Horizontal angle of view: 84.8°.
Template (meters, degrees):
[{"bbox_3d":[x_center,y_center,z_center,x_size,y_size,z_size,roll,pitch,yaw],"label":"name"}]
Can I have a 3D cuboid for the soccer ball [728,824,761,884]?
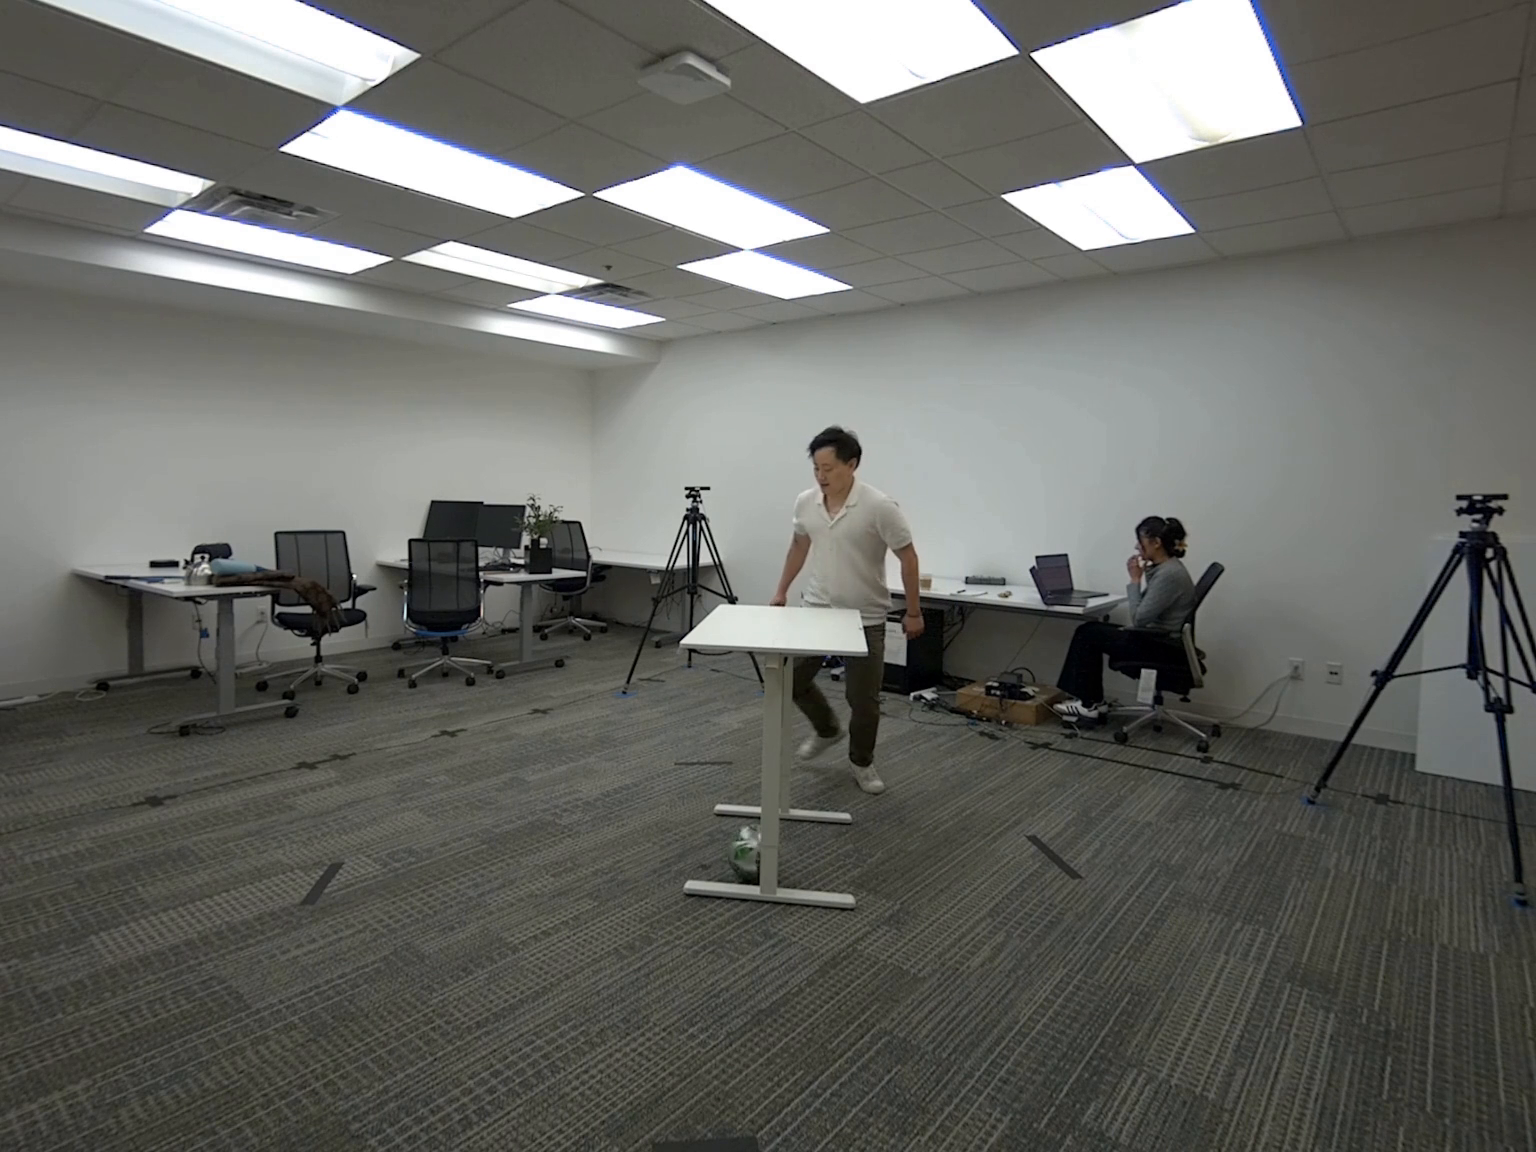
[{"bbox_3d":[-0.053,0.980,3.035,0.187,0.187,0.188,1,4,-2],"label":"soccer ball"}]
